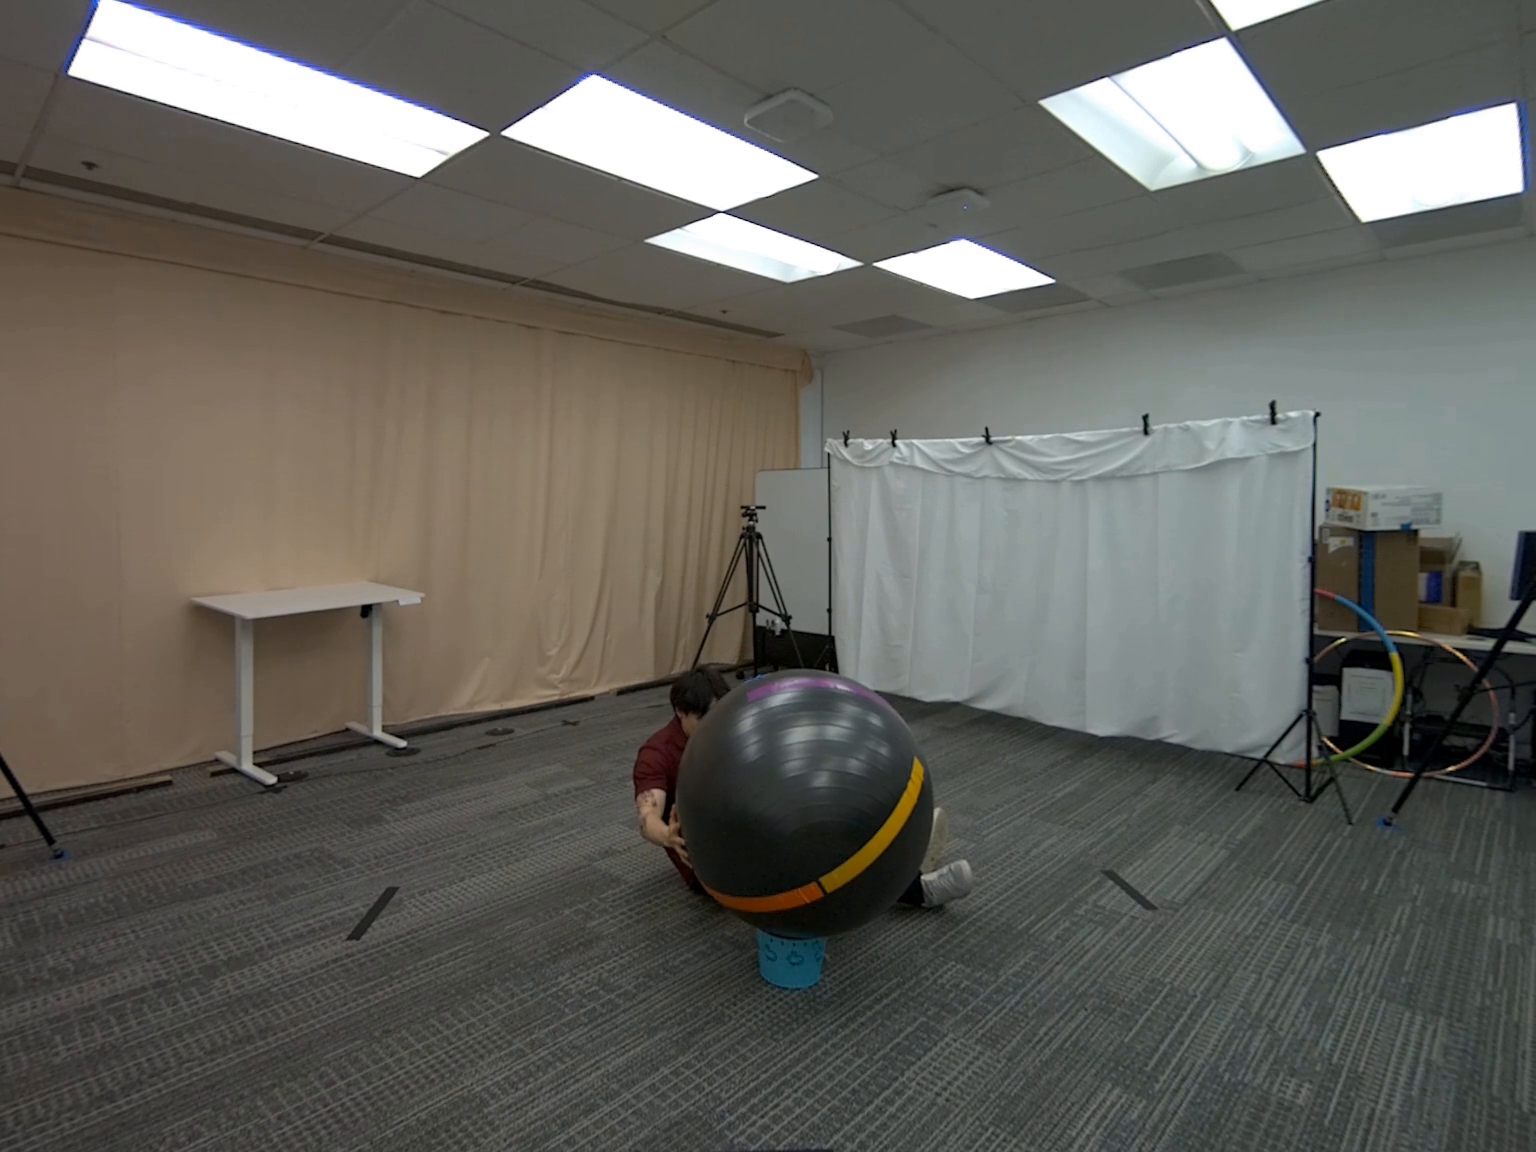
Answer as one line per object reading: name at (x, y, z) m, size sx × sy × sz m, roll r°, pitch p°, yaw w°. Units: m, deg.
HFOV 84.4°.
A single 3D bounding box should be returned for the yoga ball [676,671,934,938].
yoga ball at (0.105, 0.659, 2.500) m, size 0.757 × 0.756 × 0.760 m, roll 0°, pitch 4°, yaw -2°
